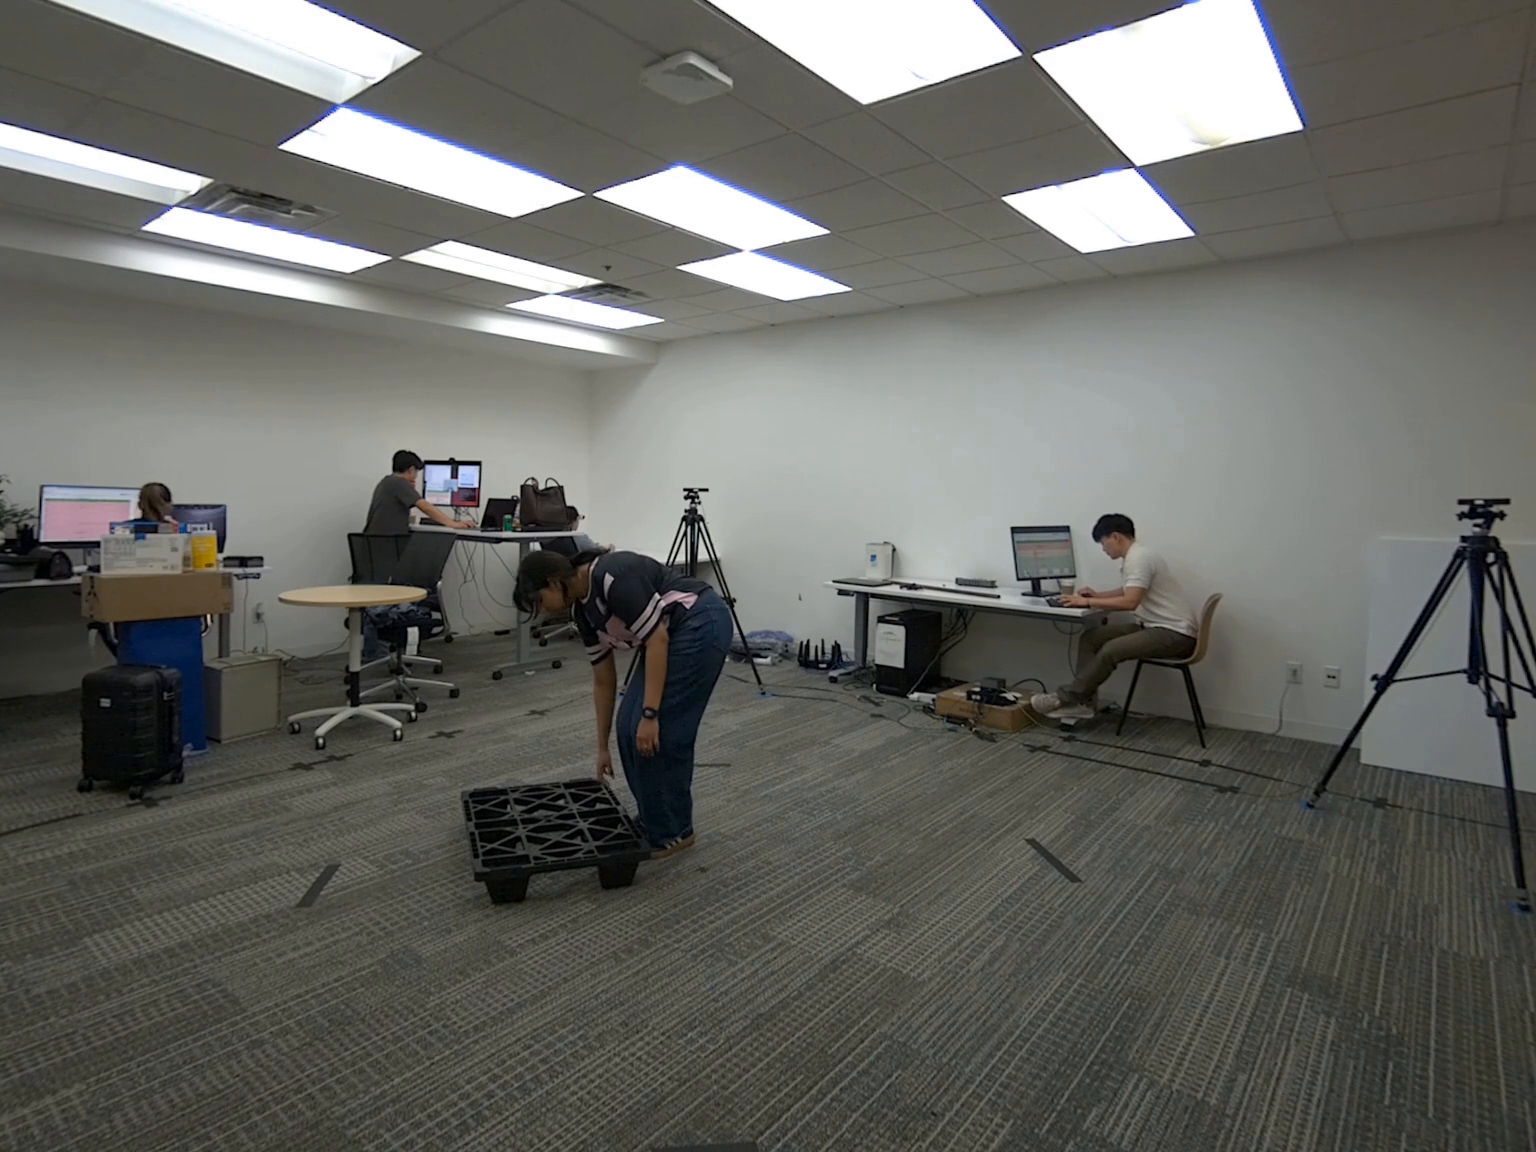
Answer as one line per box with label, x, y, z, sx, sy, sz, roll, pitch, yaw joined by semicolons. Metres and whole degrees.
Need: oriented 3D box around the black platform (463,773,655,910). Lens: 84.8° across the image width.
black platform;-0.838;0.975;3.227;0.593;0.143;0.825;-1;6;-21
